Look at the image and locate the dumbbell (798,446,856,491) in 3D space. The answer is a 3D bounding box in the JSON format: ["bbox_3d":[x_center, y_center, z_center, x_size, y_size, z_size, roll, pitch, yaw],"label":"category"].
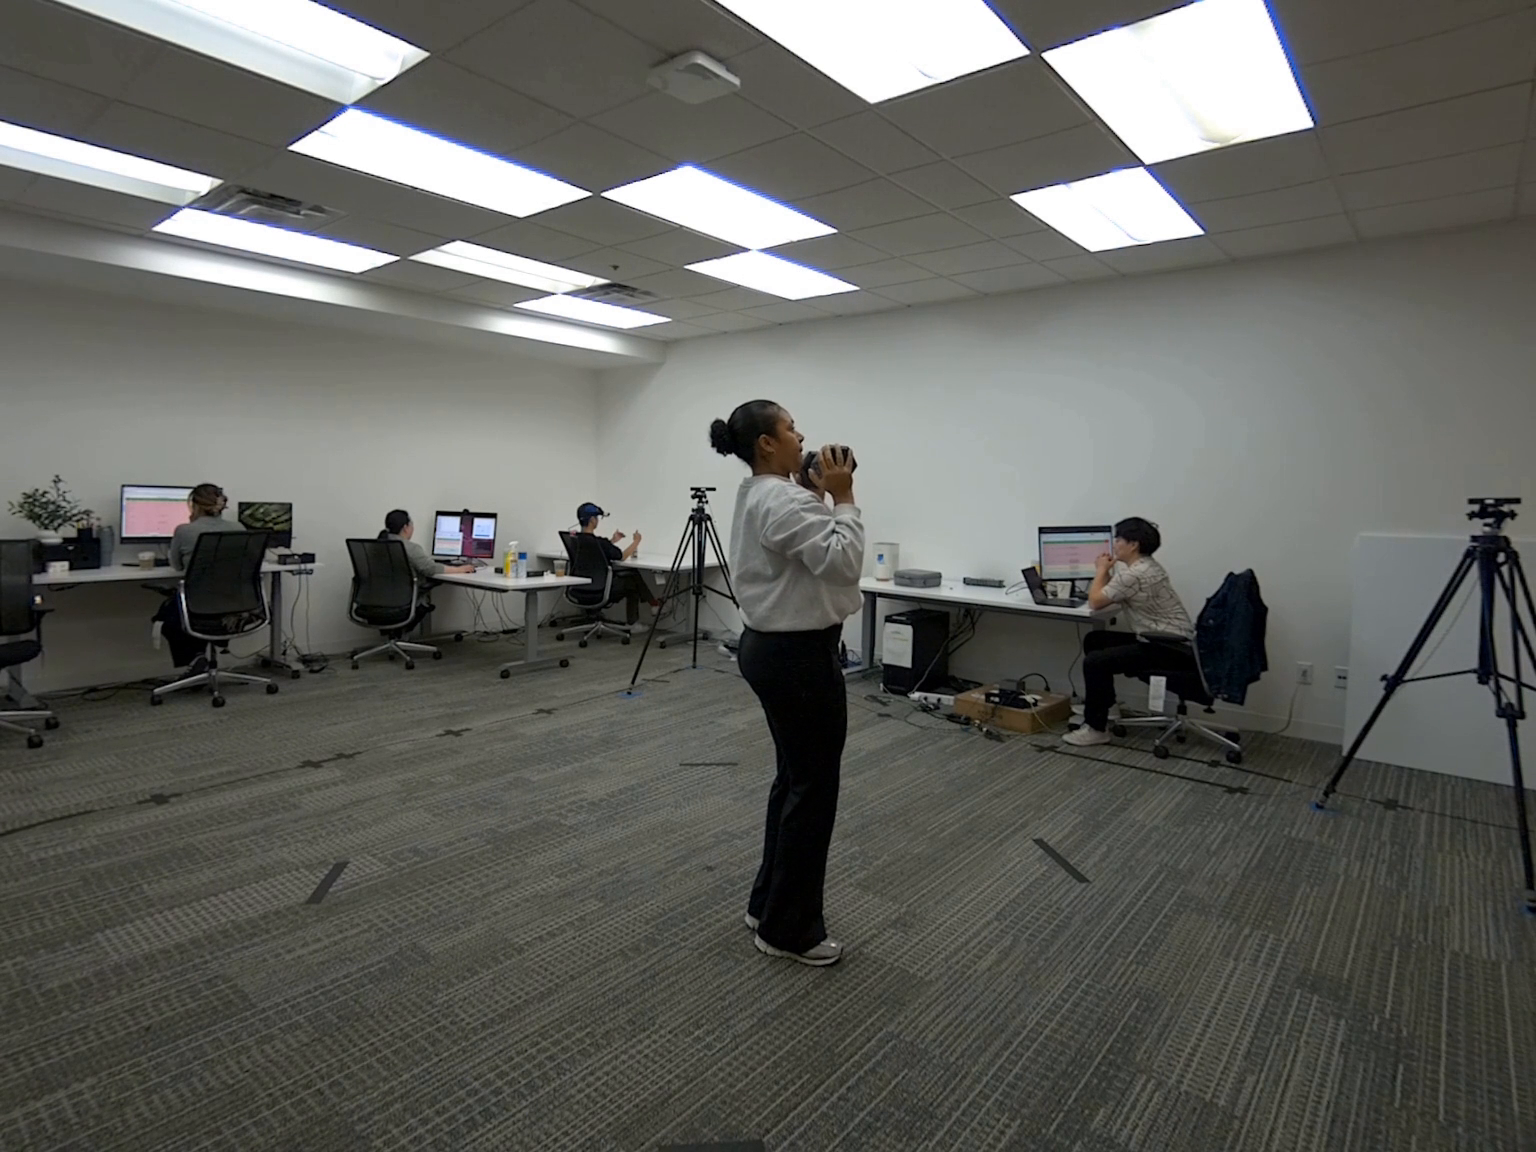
[{"bbox_3d":[0.147,-0.330,2.552,0.108,0.123,0.296,37,-2,-8],"label":"dumbbell"}]
